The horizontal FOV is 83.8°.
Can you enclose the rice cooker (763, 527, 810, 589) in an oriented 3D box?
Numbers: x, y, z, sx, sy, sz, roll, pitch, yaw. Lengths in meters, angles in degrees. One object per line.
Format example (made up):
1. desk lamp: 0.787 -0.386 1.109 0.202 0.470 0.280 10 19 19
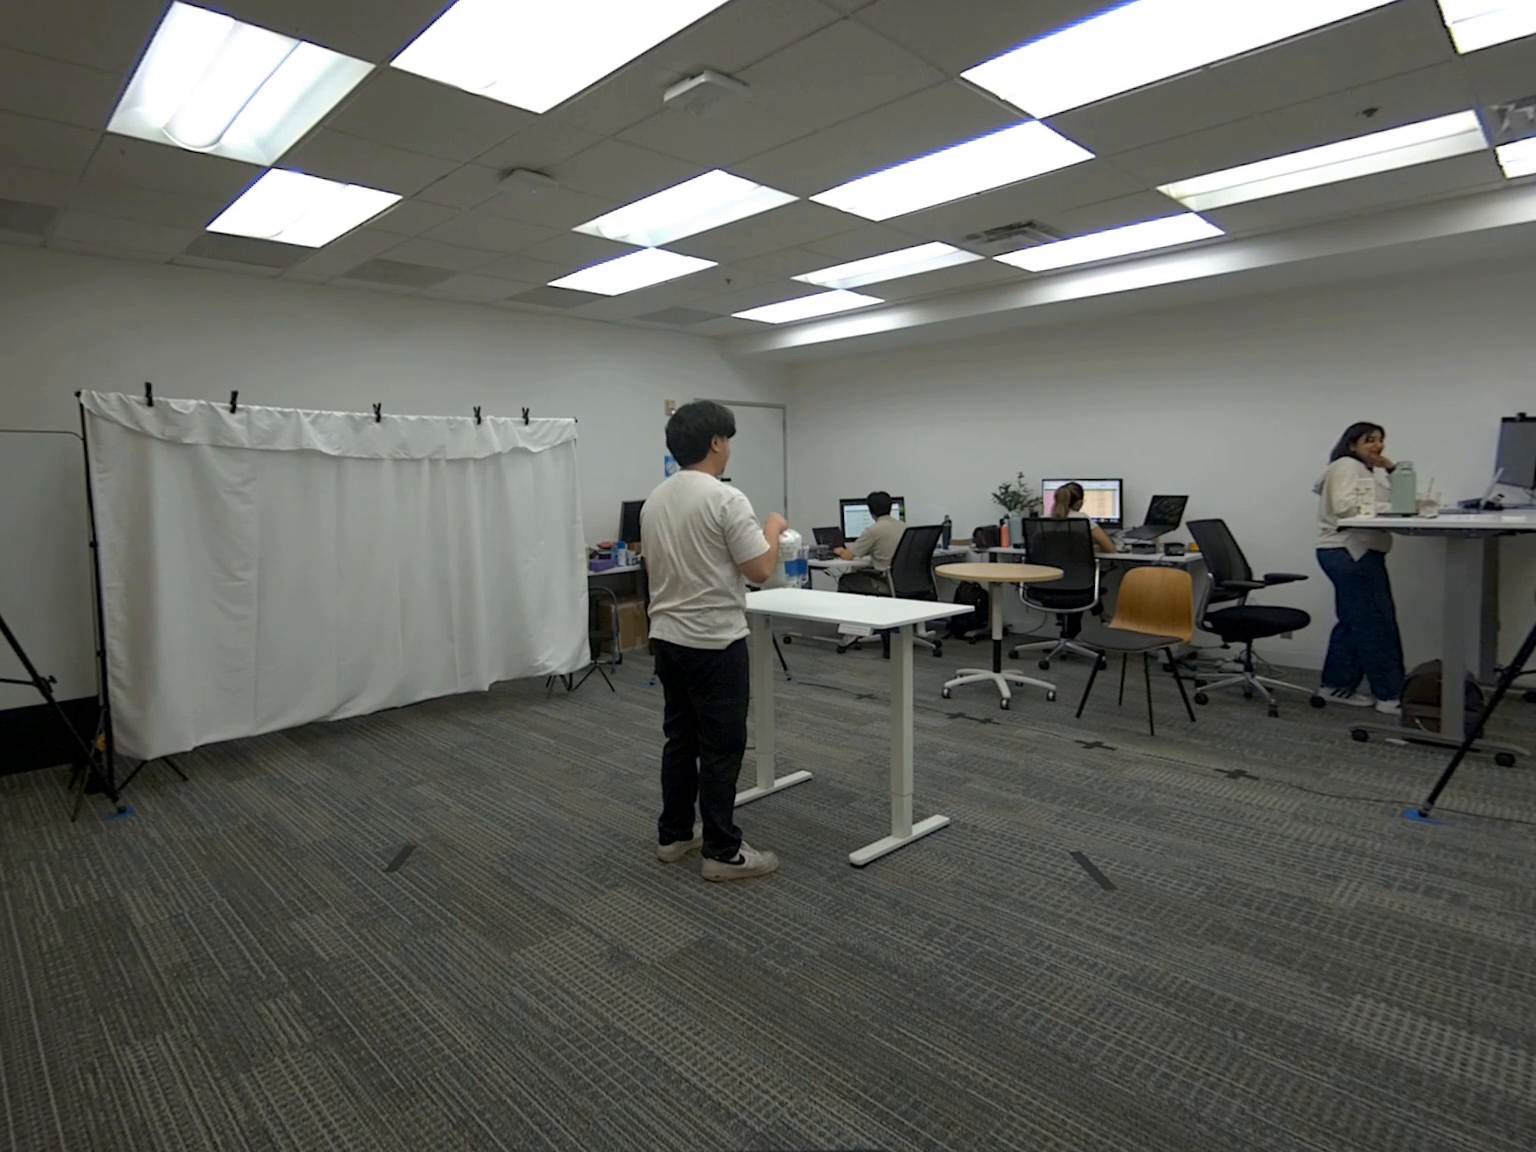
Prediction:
1. rice cooker: 0.025 -0.078 3.201 0.213 0.231 0.226 -2 7 -23
